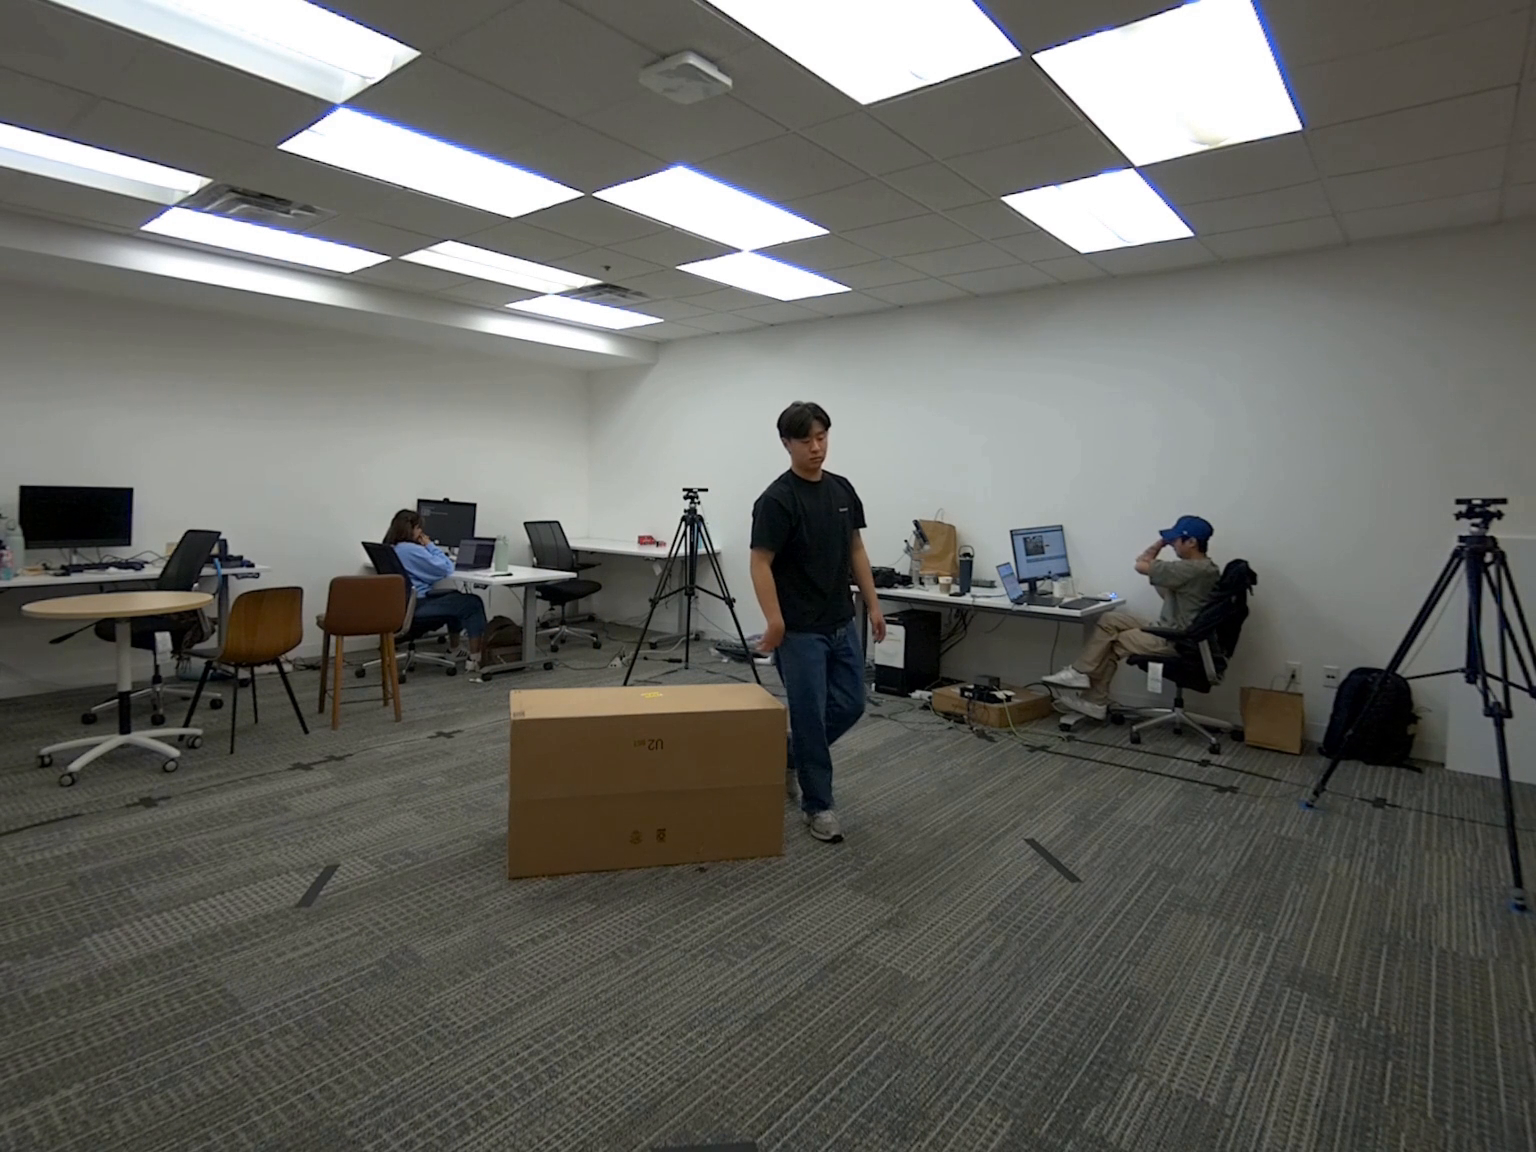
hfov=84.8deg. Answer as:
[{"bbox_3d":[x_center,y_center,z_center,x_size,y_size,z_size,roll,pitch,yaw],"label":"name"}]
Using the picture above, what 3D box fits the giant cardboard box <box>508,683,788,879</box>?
[{"bbox_3d":[-0.493,0.758,3.307,1.011,0.583,0.455,0,3,-15],"label":"giant cardboard box"}]
